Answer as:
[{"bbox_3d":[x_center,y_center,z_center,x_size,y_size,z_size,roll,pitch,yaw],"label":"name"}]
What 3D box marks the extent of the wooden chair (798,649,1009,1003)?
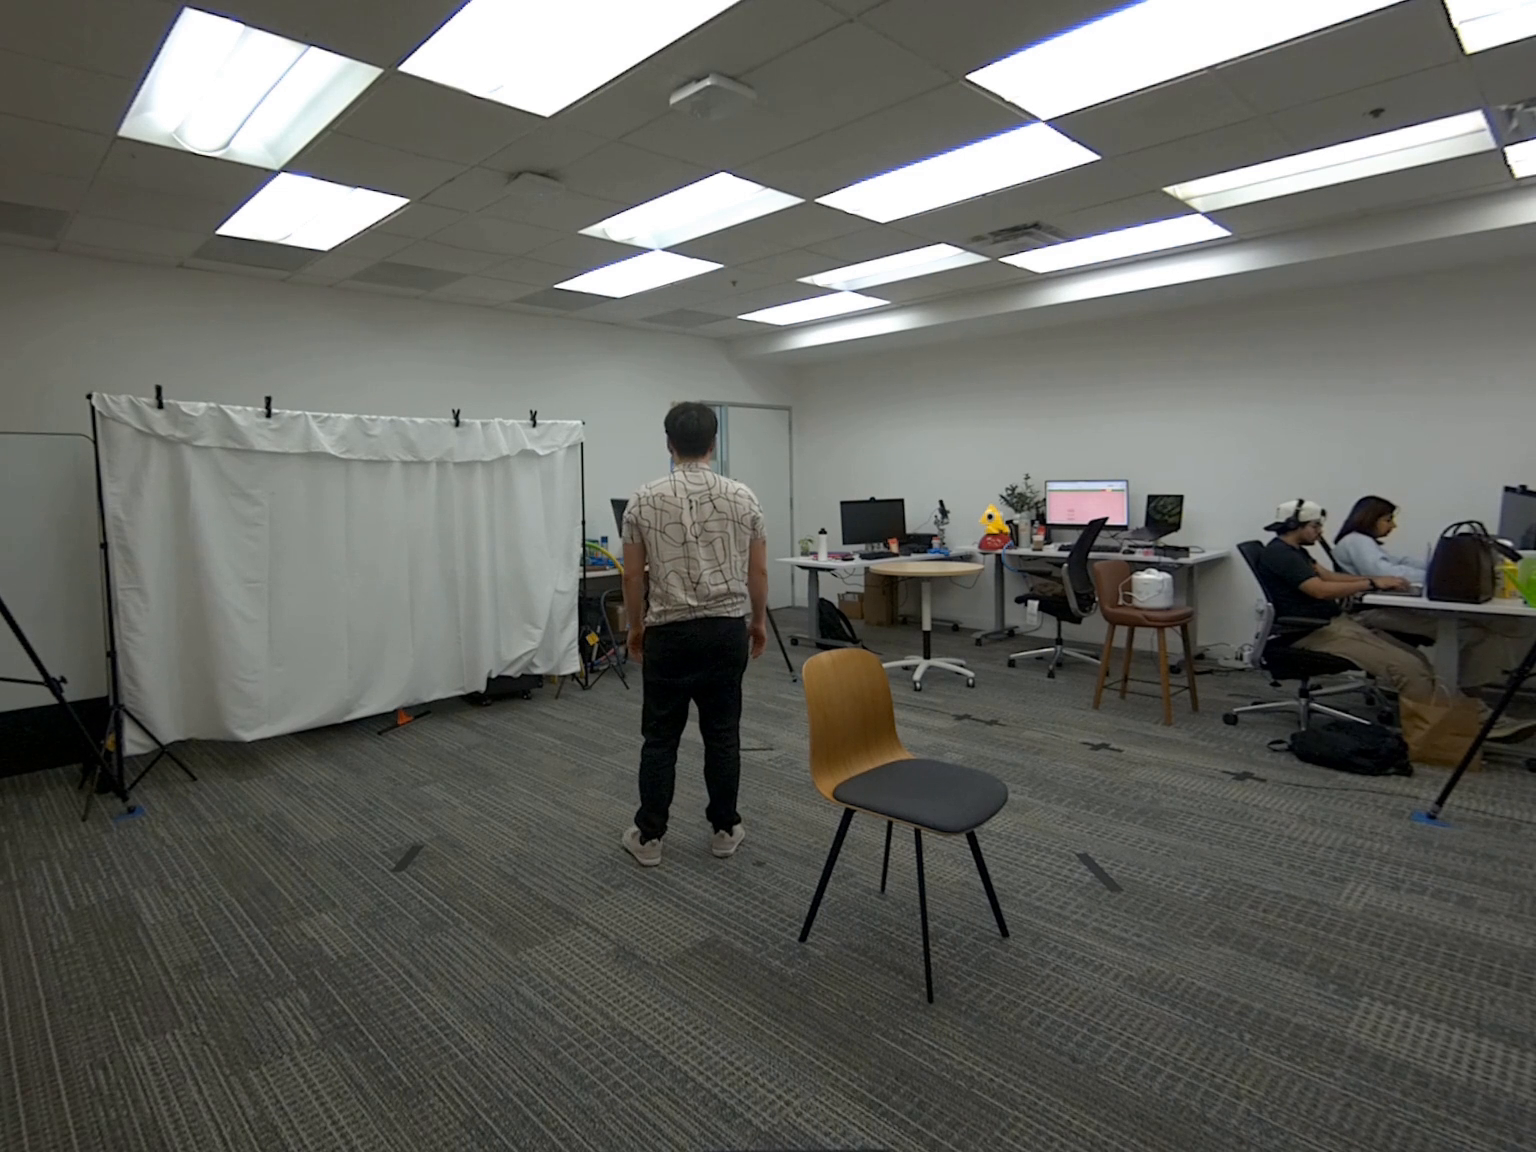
[{"bbox_3d":[0.412,0.675,2.547,0.537,0.877,0.465,-3,1,43],"label":"wooden chair"}]
